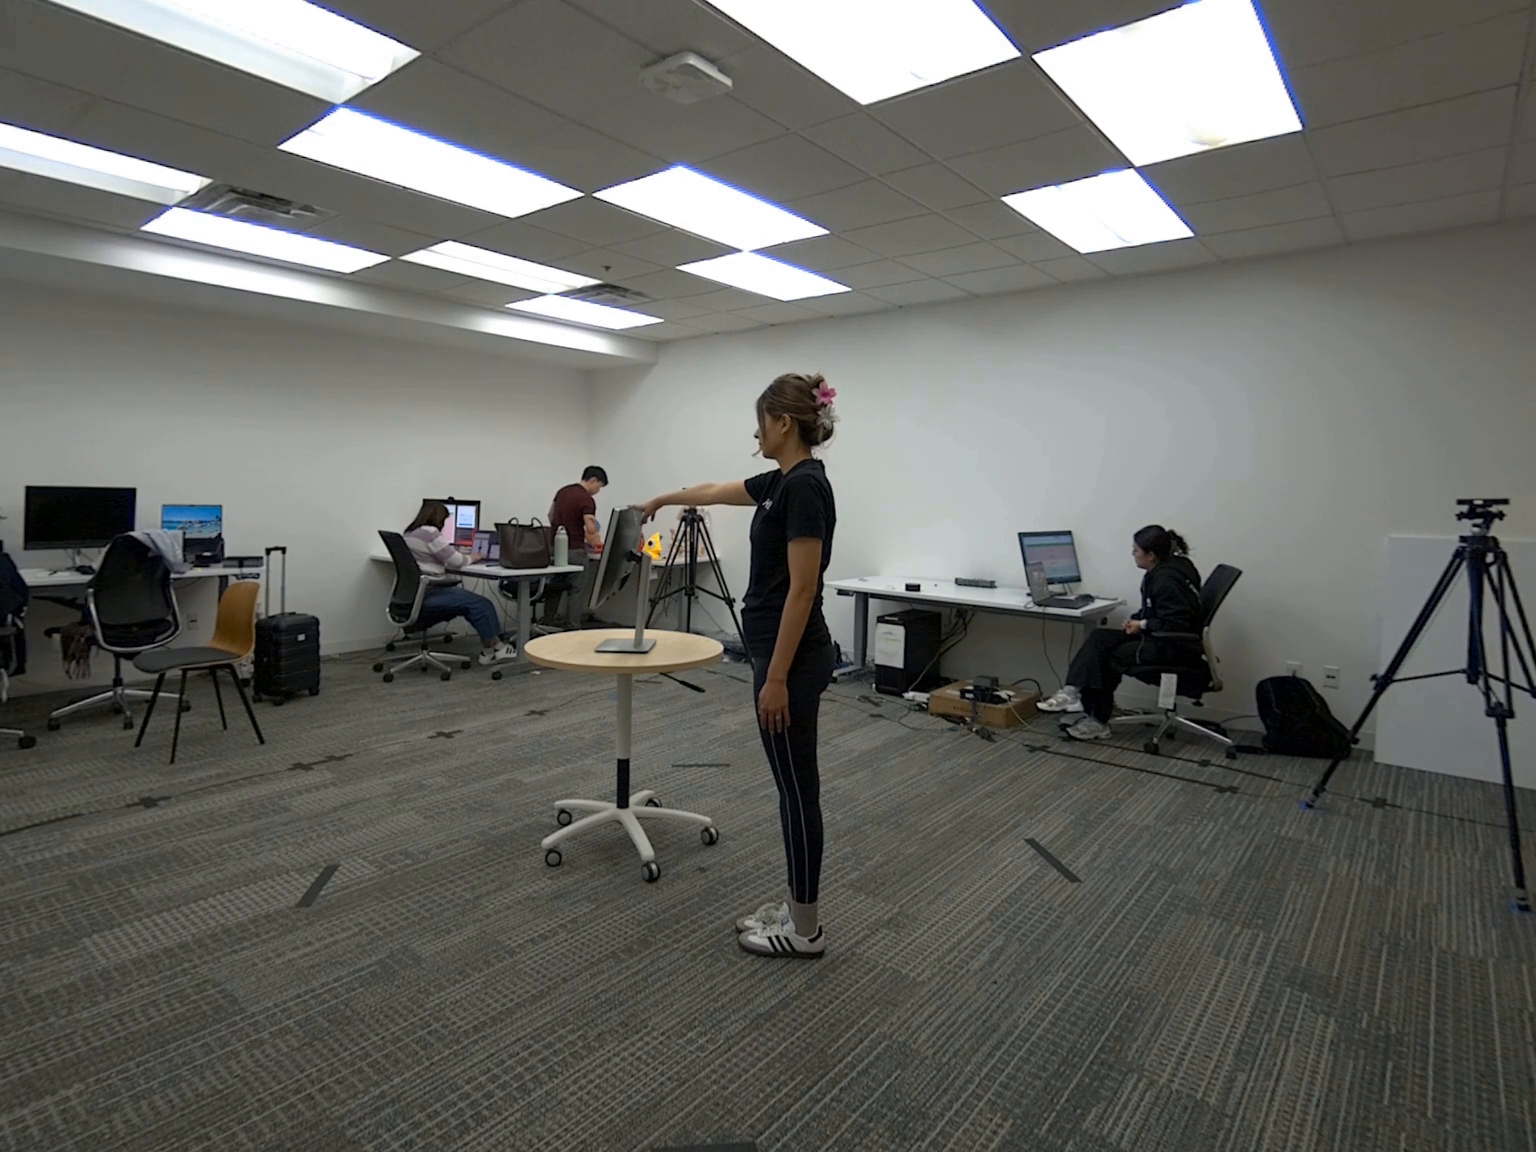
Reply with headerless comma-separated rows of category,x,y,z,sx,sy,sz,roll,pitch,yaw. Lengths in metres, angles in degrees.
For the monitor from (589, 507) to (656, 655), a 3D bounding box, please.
monitor,-0.544,0.009,3.245,0.187,0.521,0.541,1,5,-1
